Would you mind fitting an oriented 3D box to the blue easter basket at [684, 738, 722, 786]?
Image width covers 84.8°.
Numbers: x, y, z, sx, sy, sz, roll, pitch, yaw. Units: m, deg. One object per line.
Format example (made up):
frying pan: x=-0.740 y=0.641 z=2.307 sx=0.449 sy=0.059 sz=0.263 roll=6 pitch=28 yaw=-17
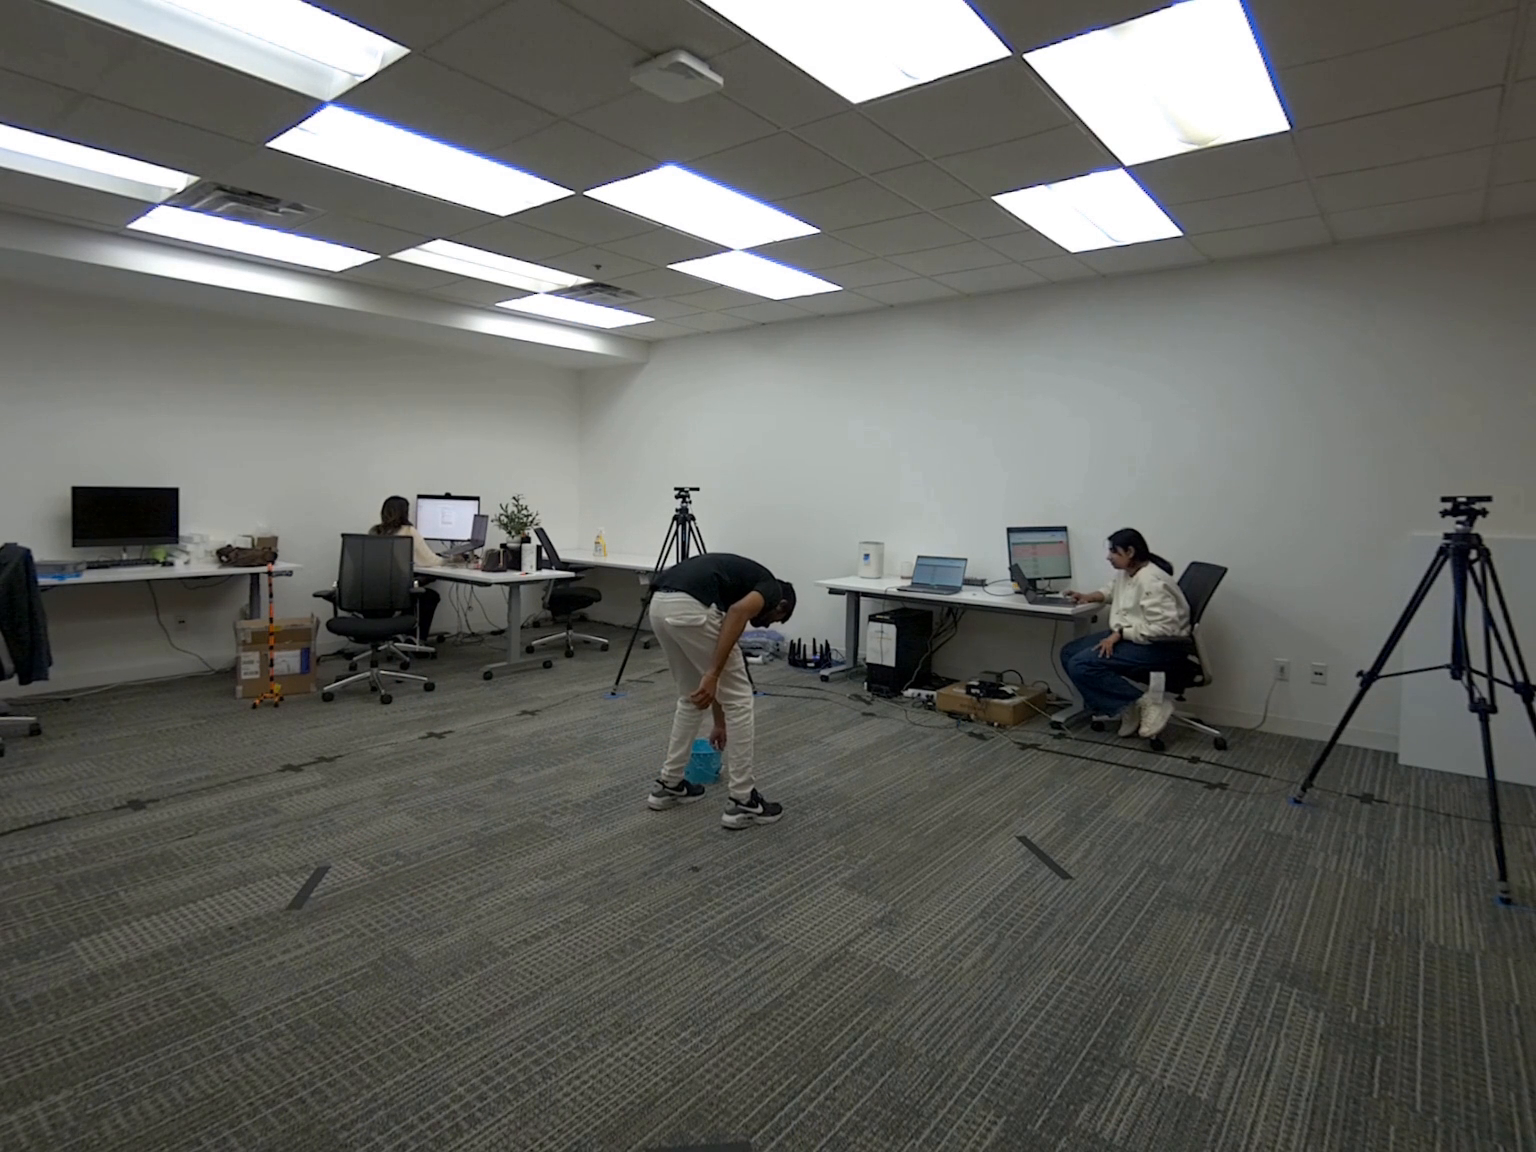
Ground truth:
blue easter basket: x=-0.337 y=0.886 z=4.090 sx=0.243 sy=0.155 sz=0.245 roll=2 pitch=4 yaw=-2
